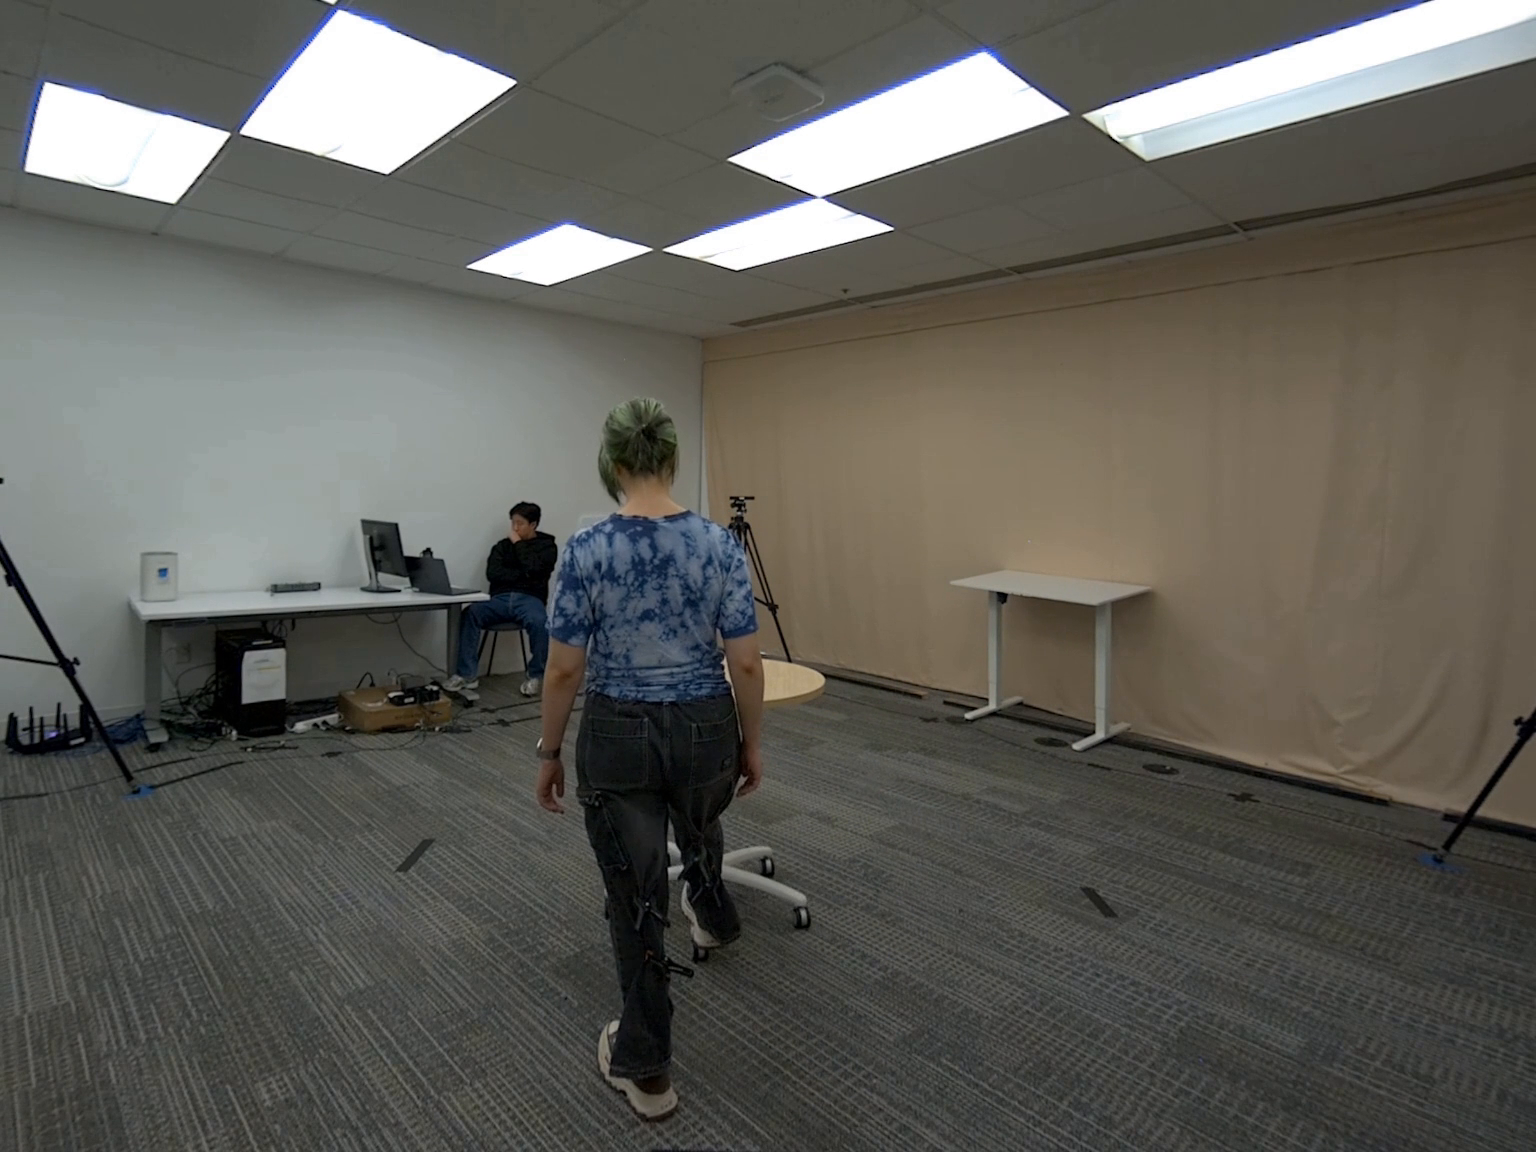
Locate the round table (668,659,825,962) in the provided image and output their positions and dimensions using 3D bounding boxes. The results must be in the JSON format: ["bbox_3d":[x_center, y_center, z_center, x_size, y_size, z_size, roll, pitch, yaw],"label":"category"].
[{"bbox_3d":[-0.201,0.737,2.864,0.763,0.792,0.767,1,4,-1],"label":"round table"}]
